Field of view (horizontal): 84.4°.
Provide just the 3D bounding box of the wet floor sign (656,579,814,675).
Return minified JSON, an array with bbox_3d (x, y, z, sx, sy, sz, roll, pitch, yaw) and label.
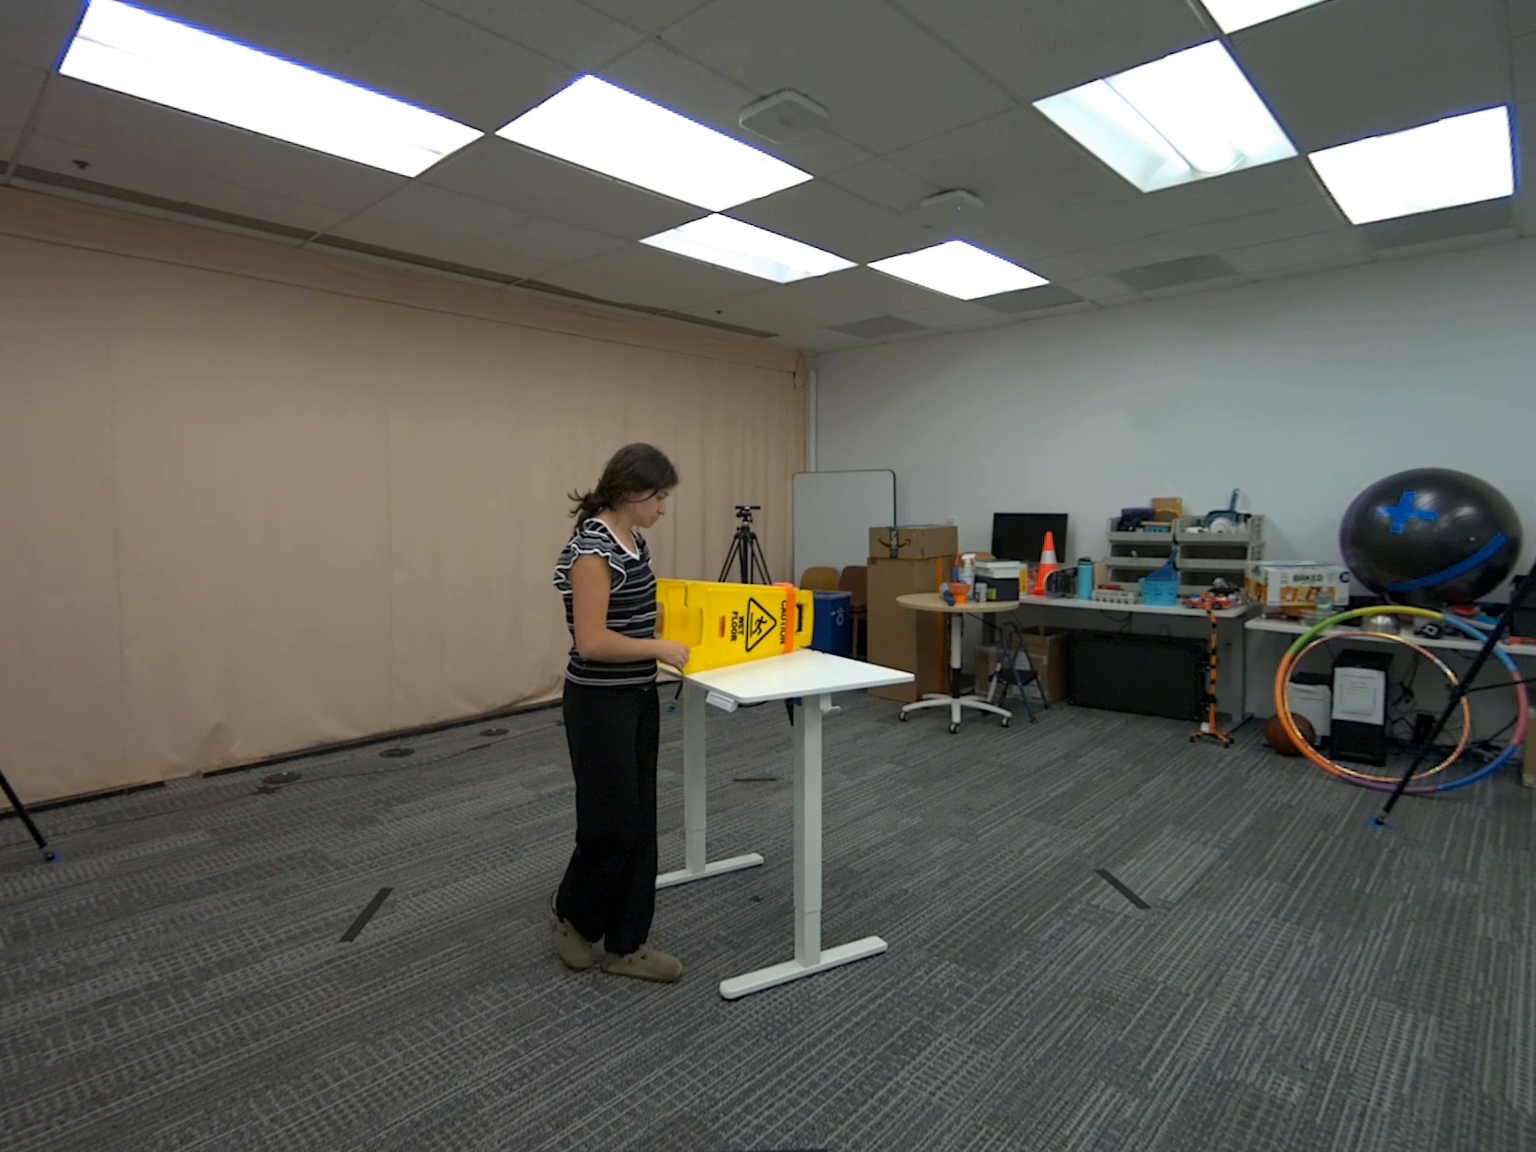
[{"bbox_3d":[-0.085,0.154,2.824,0.626,0.282,0.299,0,3,-41],"label":"wet floor sign"}]
